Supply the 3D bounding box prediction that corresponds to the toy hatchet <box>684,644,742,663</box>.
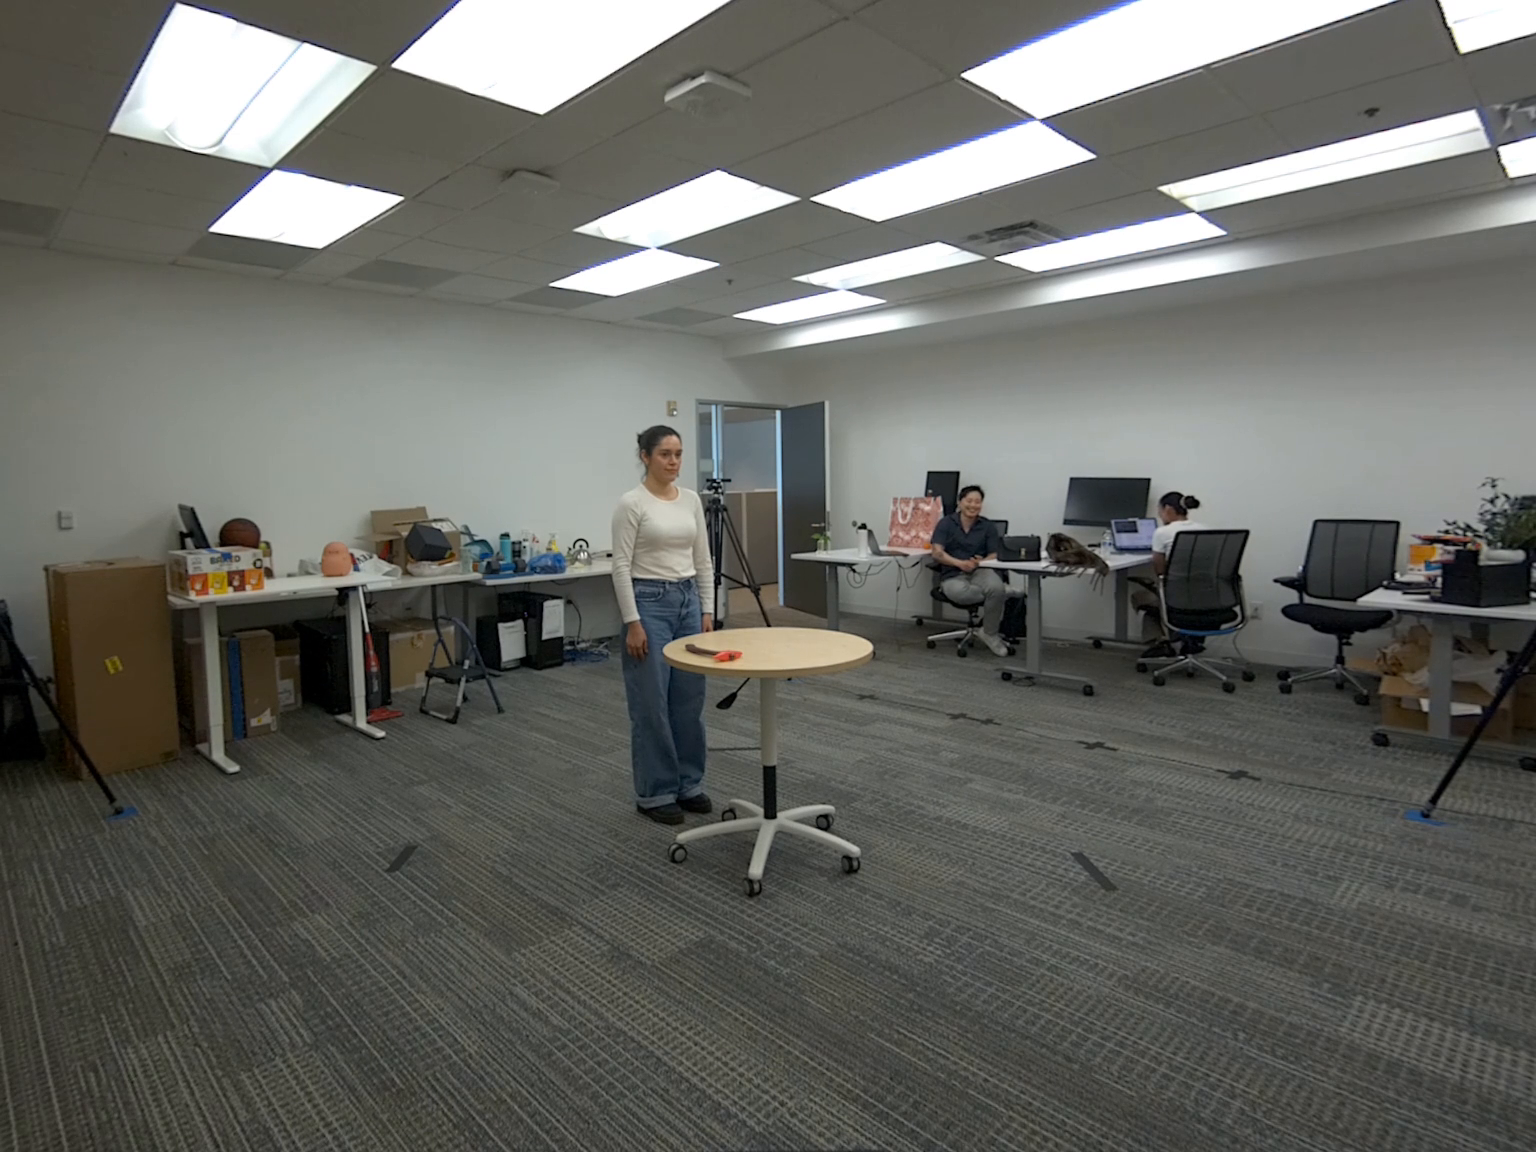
[{"bbox_3d":[-0.183,0.269,3.001,0.128,0.029,0.277,-3,6,-26],"label":"toy hatchet"}]
